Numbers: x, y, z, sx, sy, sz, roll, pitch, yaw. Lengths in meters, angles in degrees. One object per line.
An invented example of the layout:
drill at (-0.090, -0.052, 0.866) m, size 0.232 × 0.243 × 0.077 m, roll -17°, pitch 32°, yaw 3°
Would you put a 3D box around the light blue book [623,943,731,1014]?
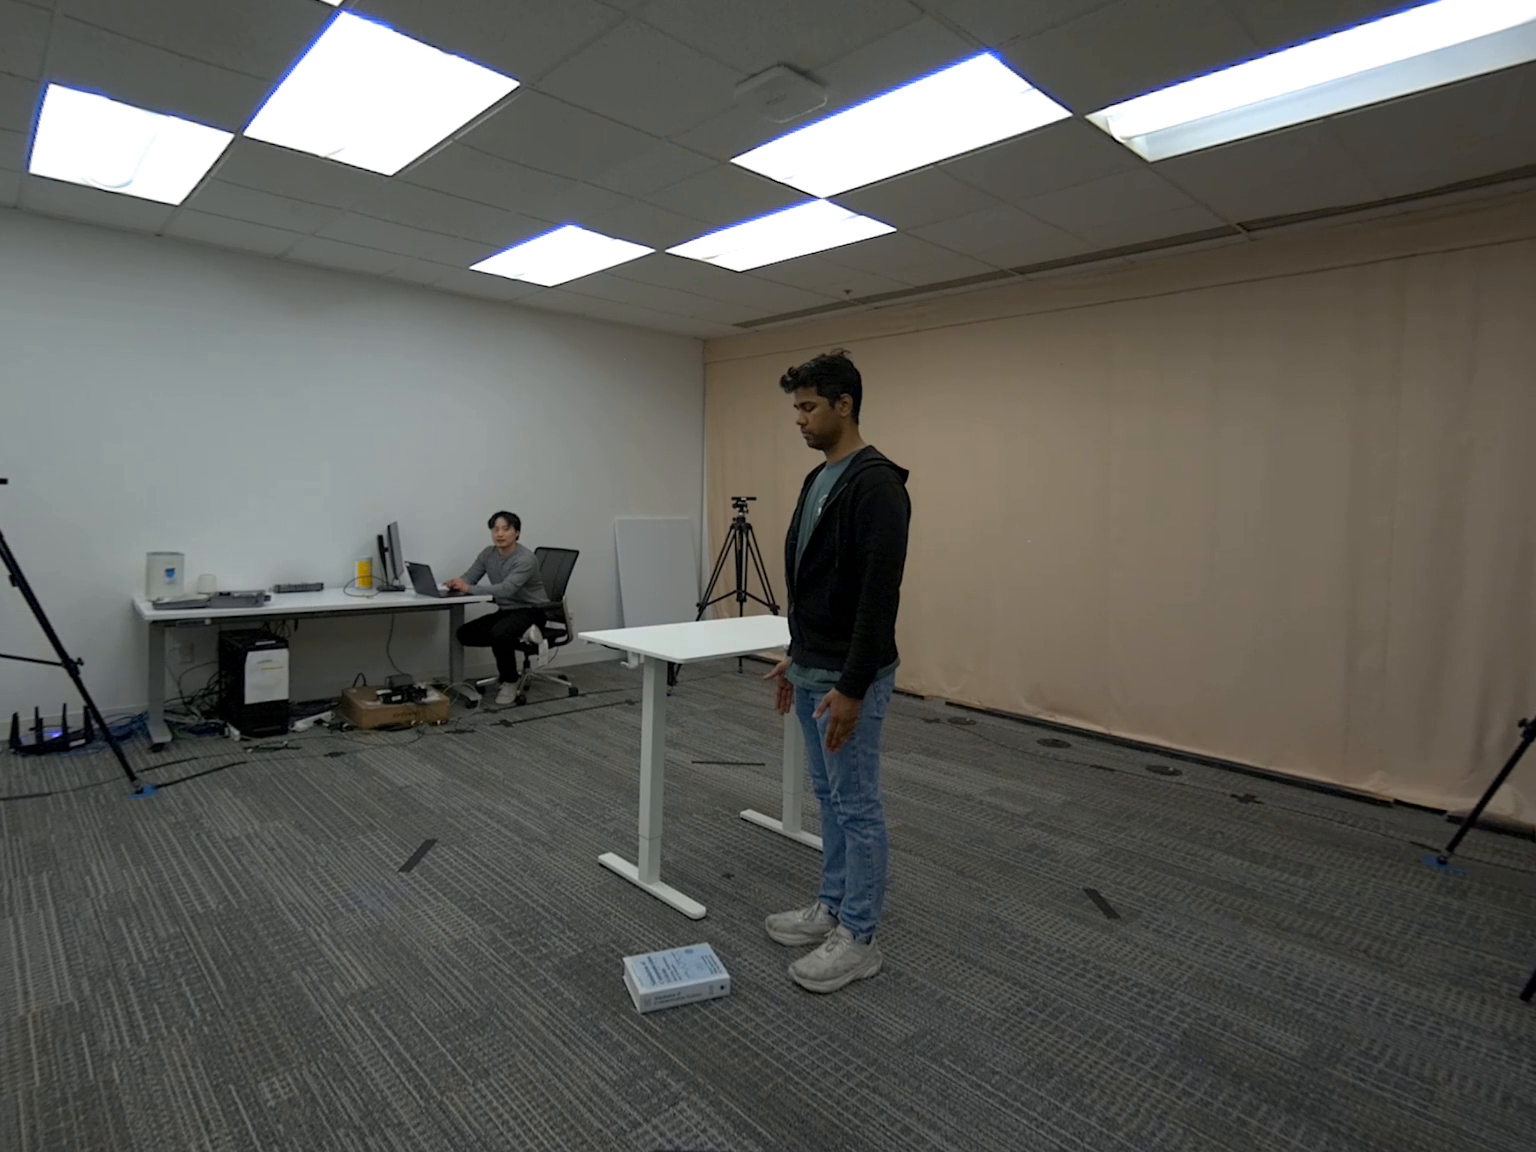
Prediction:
light blue book at (-0.264, 1.136, 2.392) m, size 0.257 × 0.059 × 0.195 m, roll -1°, pitch 5°, yaw -22°
